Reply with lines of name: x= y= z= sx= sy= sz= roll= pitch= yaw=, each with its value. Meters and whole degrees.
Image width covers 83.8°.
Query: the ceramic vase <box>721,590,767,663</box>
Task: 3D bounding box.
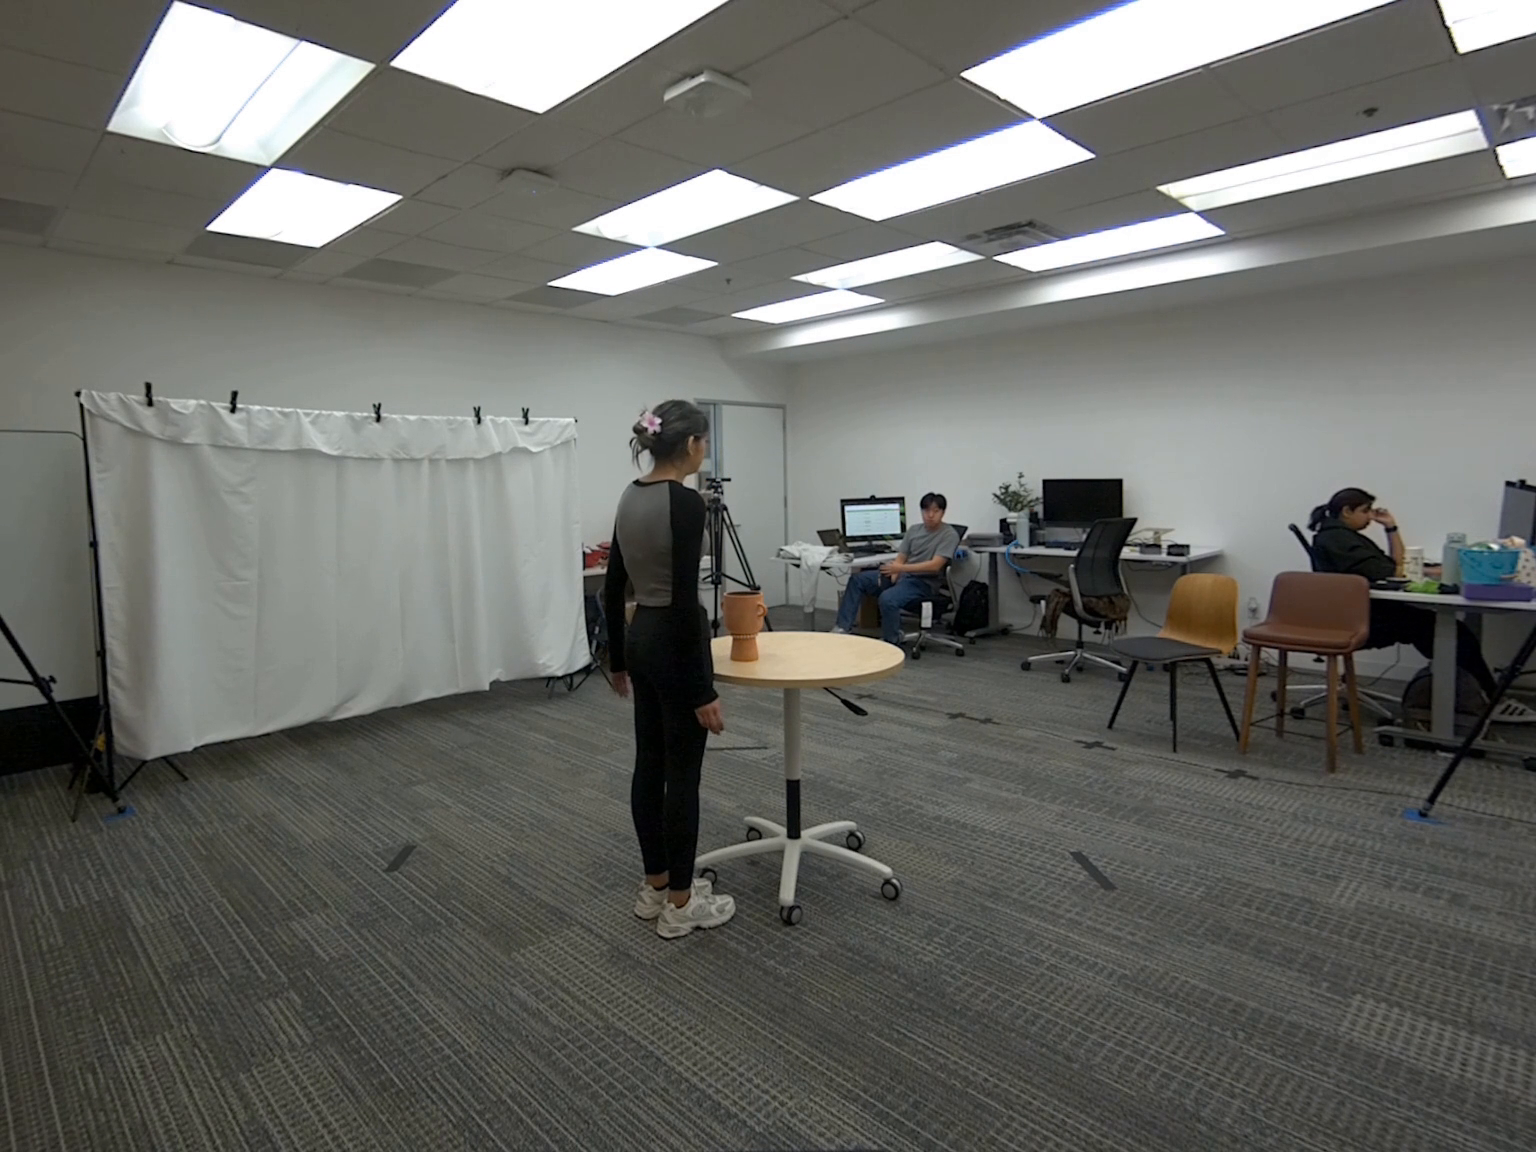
ceramic vase: x=-0.078 y=0.171 z=2.859 sx=0.133 sy=0.219 sz=0.161 roll=0 pitch=6 yaw=-11
